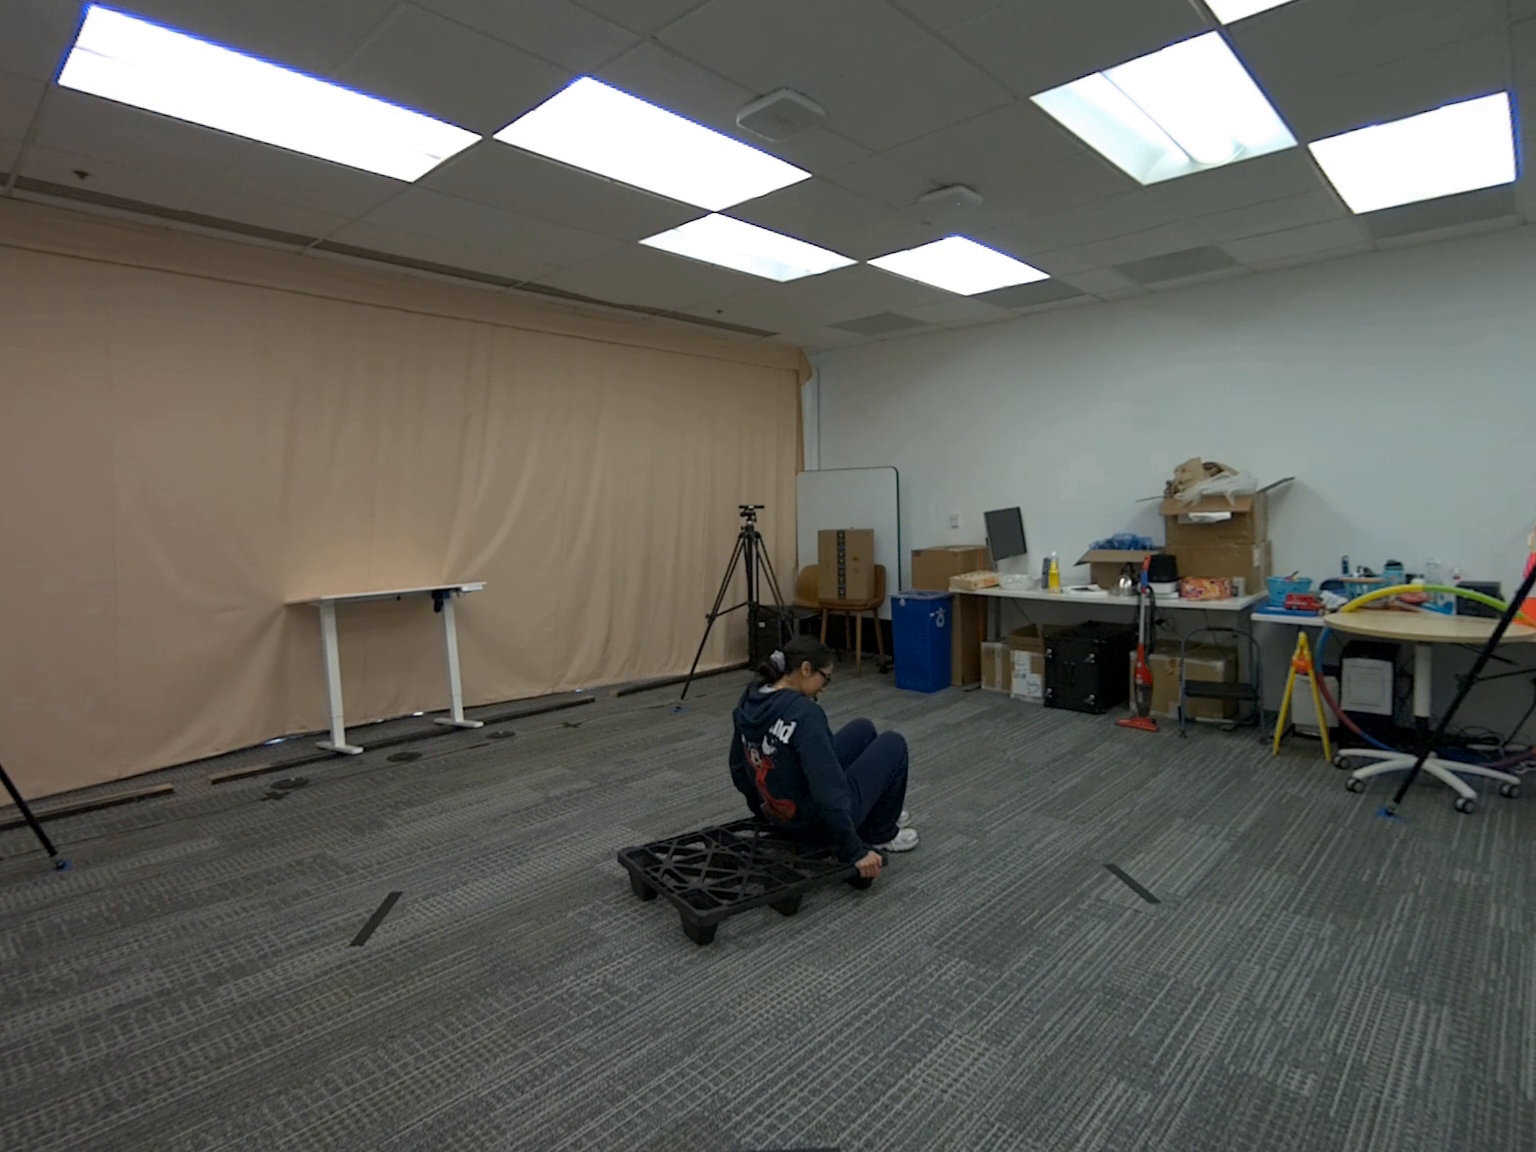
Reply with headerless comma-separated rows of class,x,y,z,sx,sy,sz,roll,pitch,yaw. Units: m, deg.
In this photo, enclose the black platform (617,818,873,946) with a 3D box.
black platform,-0.063,1.073,3.043,0.783,0.143,0.623,-3,5,-33
